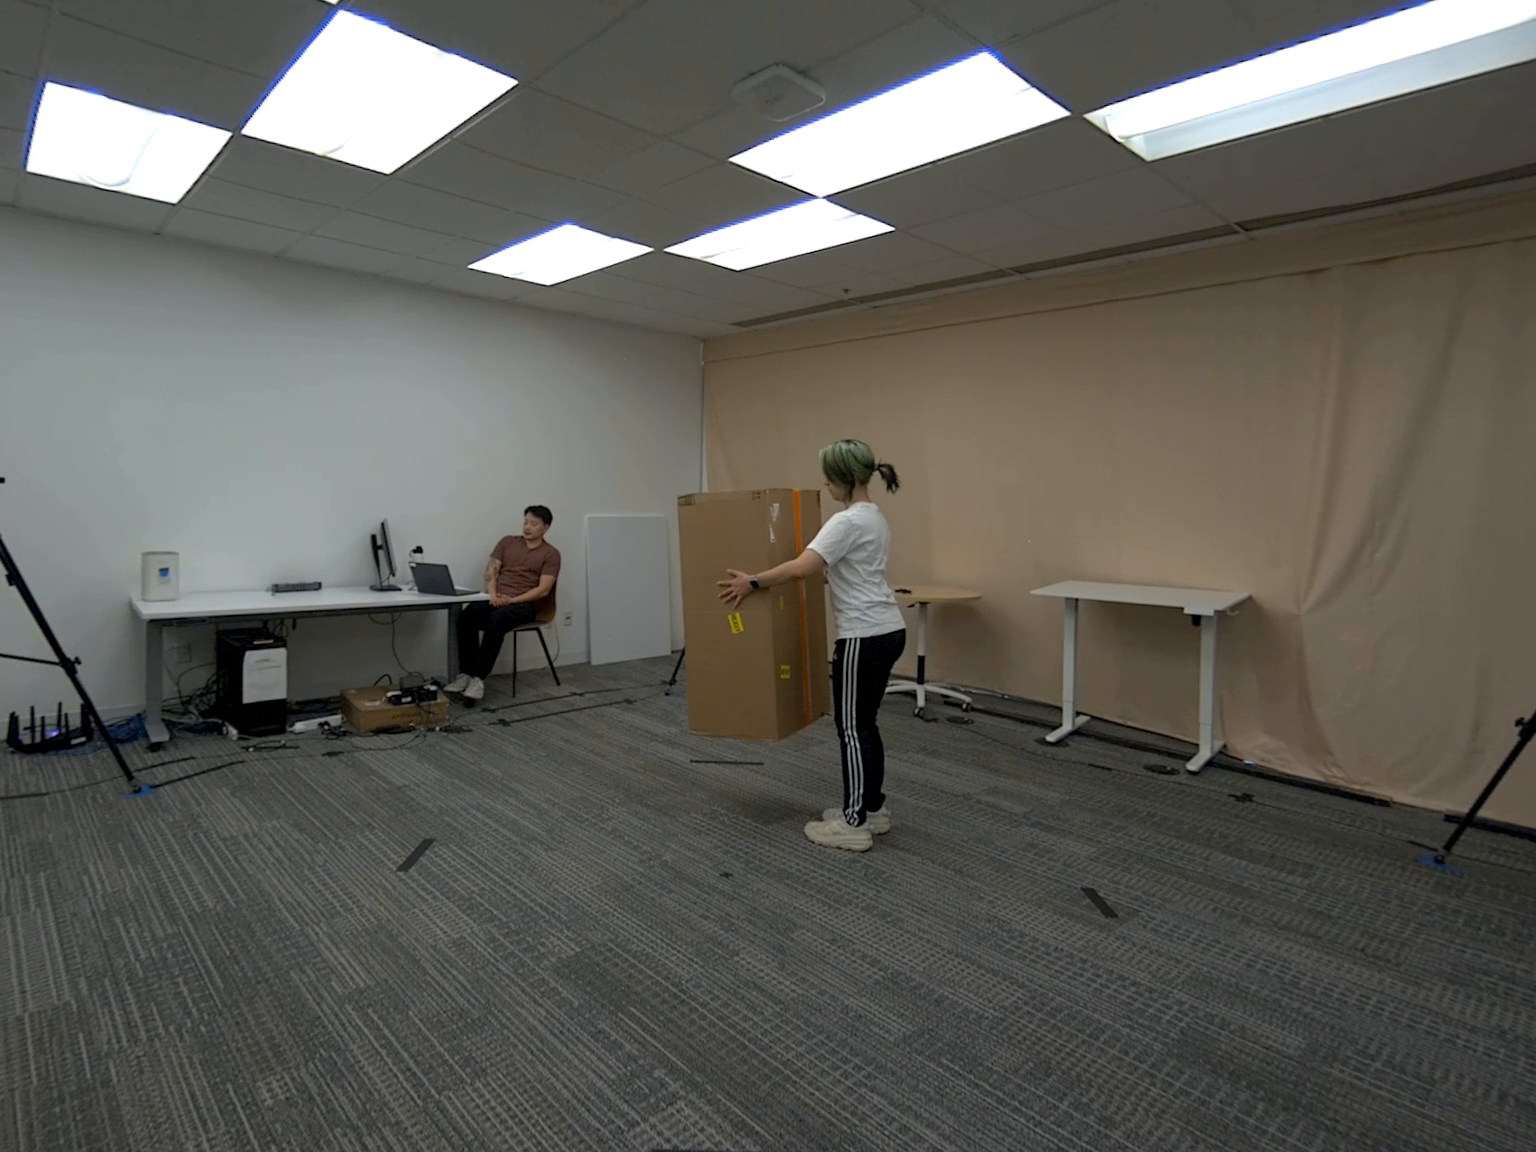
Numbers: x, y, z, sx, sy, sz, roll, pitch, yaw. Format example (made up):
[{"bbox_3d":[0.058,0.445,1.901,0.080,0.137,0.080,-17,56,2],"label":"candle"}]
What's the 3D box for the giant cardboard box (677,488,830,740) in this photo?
[{"bbox_3d":[-0.053,0.144,3.719,0.434,1.025,0.567,-2,2,28],"label":"giant cardboard box"}]
